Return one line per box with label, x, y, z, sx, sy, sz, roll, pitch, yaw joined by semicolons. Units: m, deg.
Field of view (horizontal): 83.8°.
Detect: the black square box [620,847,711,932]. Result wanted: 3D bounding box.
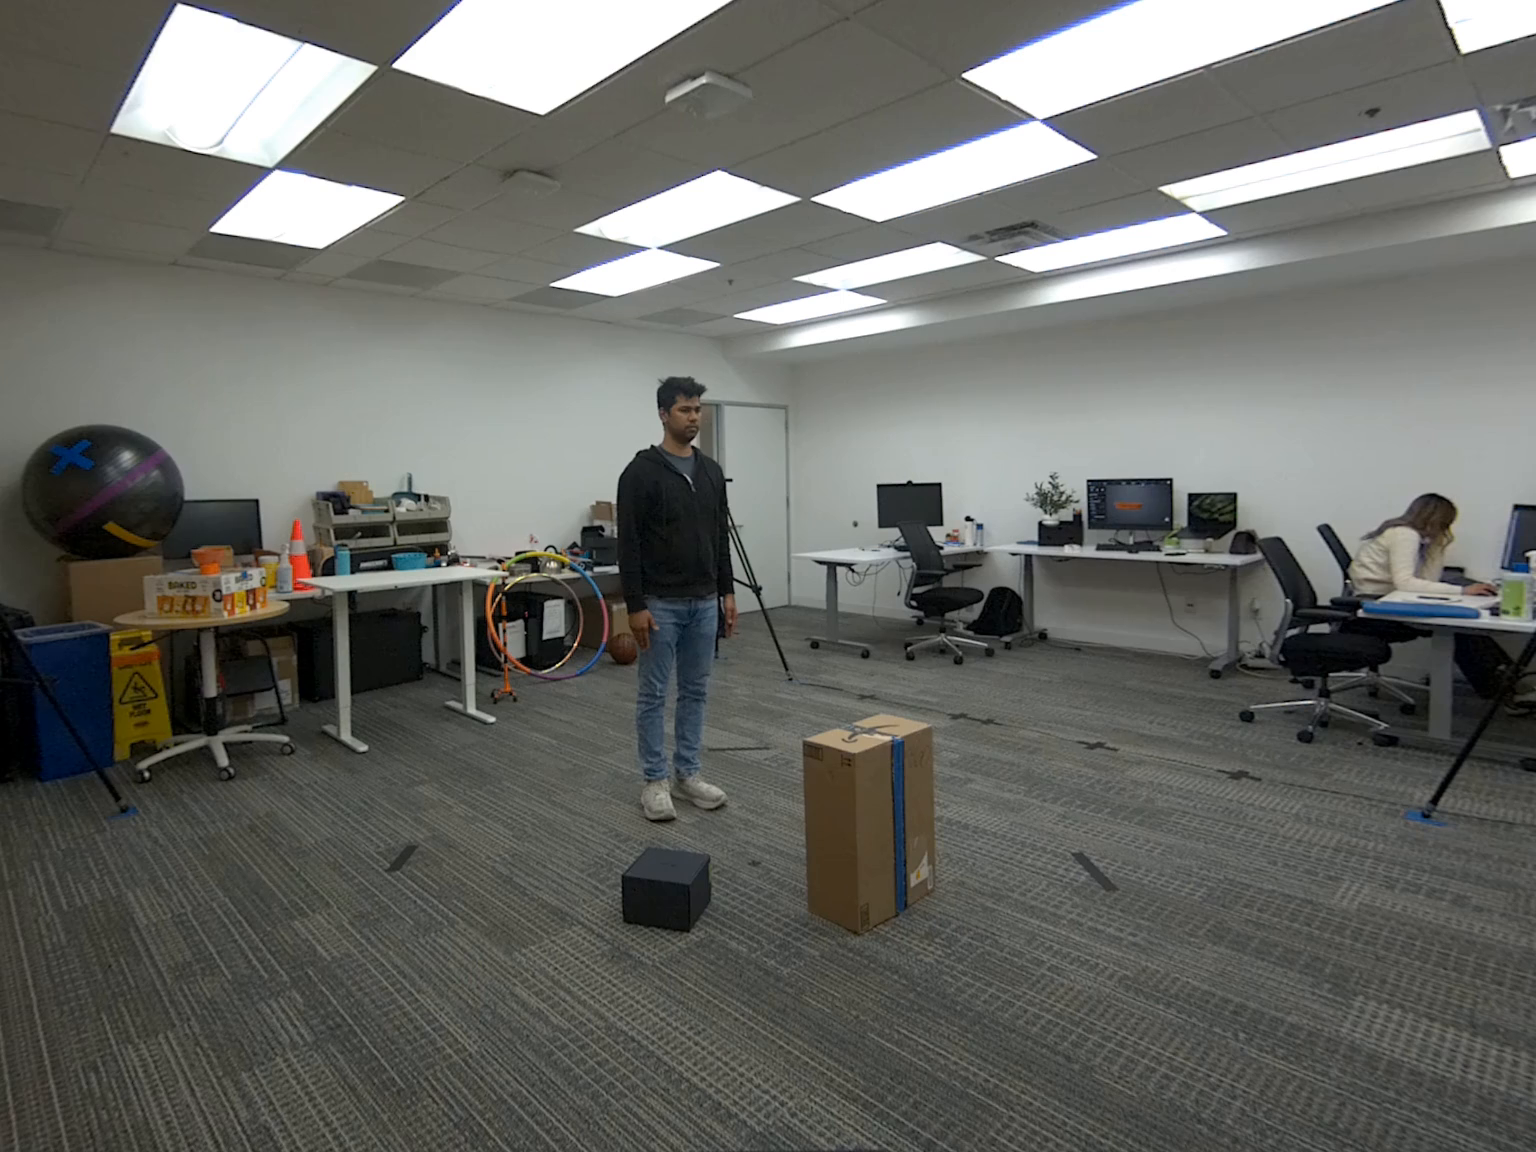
black square box;-0.319;1.005;2.762;0.231;0.155;0.214;-1;5;15
